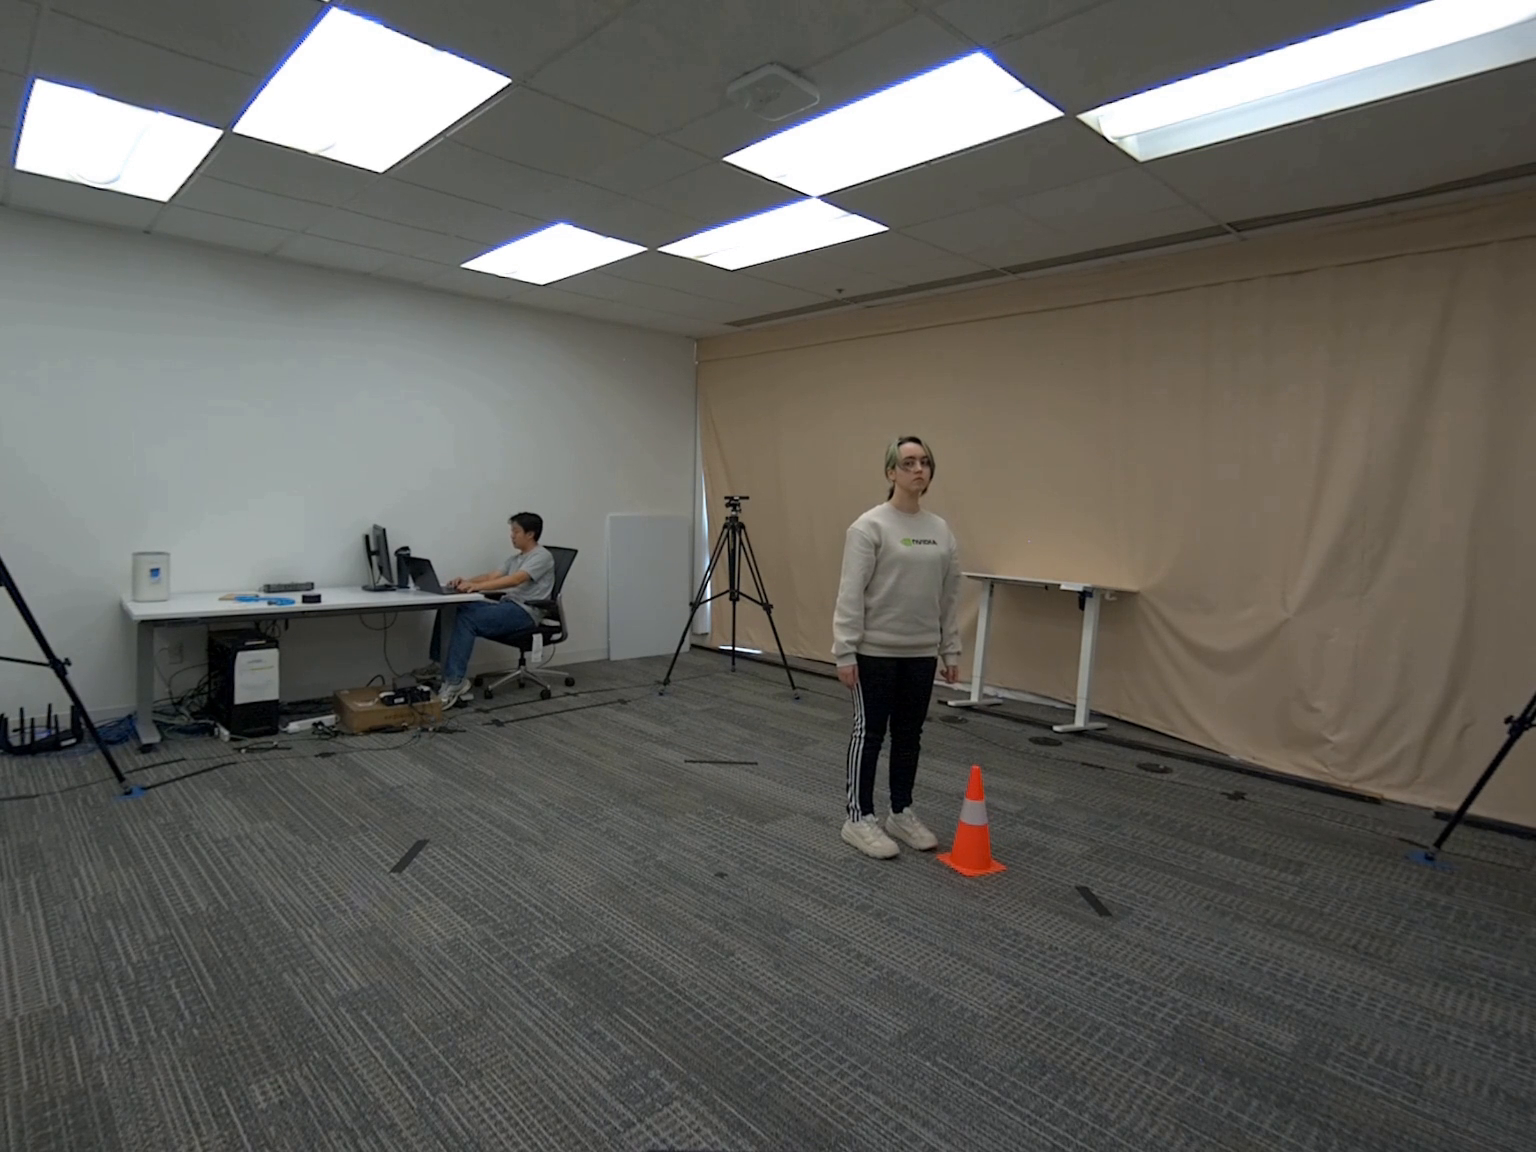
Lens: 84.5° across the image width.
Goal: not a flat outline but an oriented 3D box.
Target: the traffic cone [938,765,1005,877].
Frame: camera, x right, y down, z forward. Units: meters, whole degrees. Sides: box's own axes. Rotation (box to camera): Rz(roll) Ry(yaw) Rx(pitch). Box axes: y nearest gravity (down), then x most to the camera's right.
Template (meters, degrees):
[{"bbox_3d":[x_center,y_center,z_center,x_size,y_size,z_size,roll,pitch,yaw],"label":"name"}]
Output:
[{"bbox_3d":[0.783,0.927,3.269,0.202,0.383,0.206,0,3,-18],"label":"traffic cone"}]
